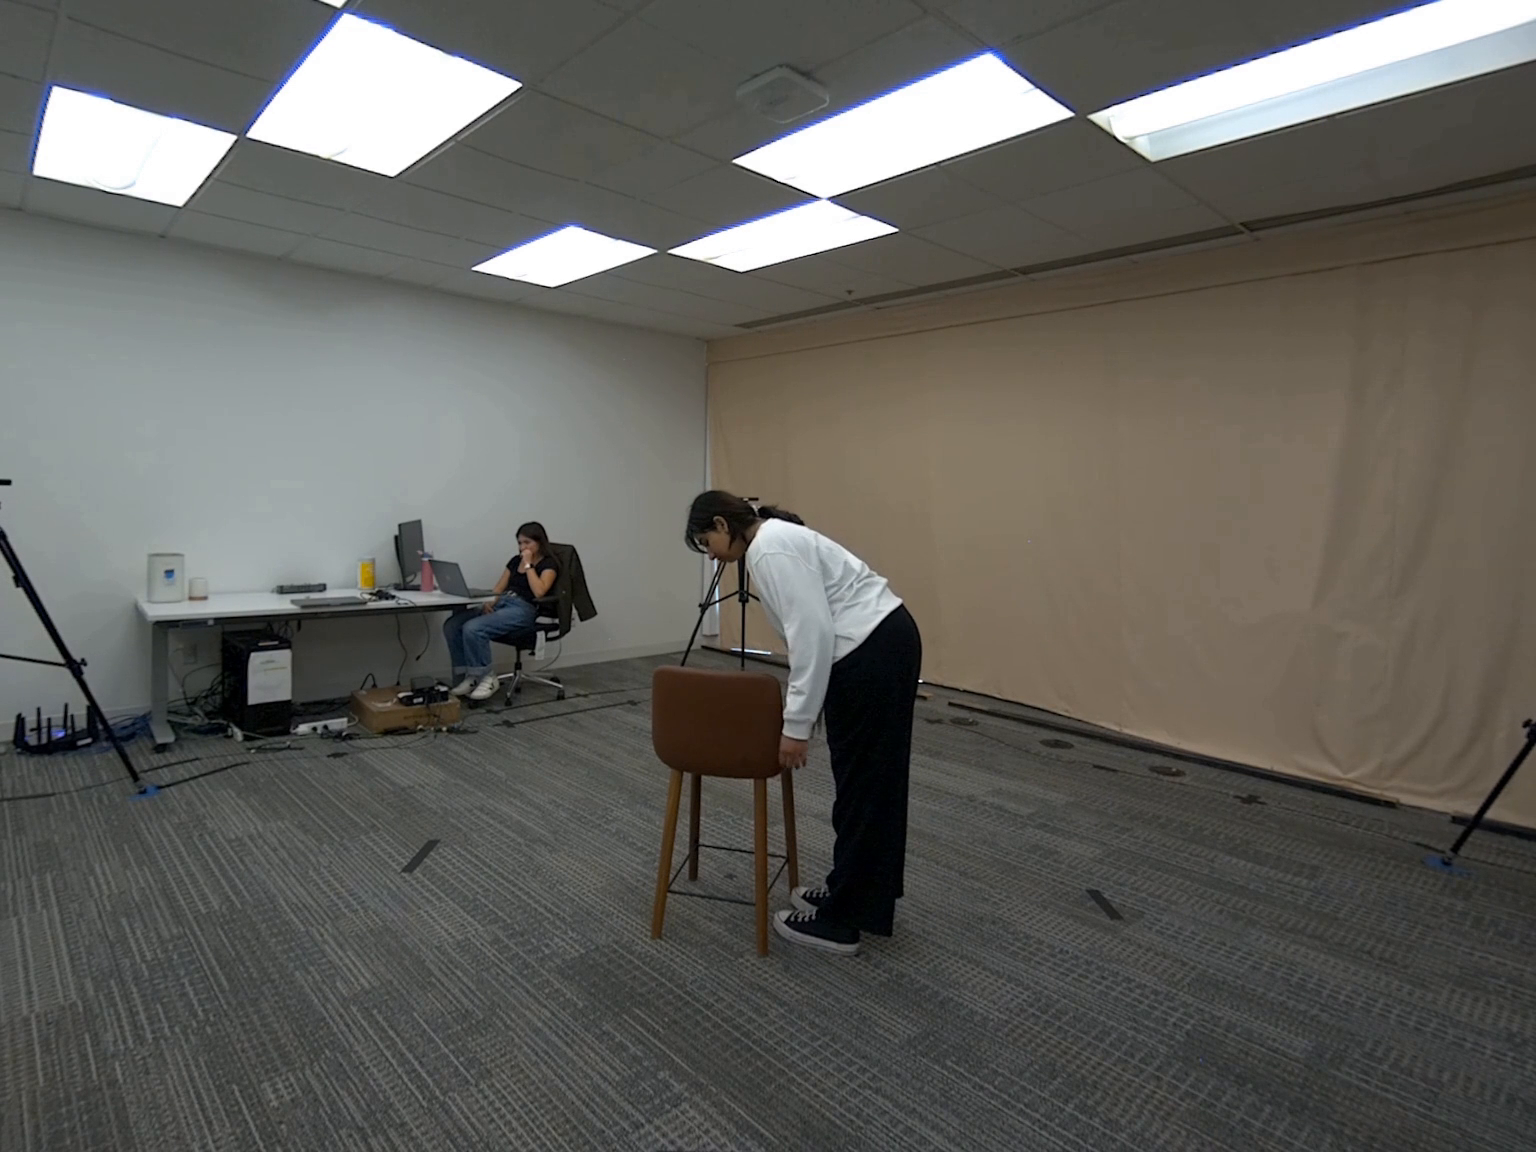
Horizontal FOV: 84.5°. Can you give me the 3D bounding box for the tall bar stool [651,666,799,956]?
[{"bbox_3d":[-0.133,0.701,2.792,0.463,0.886,0.463,3,5,16],"label":"tall bar stool"}]
